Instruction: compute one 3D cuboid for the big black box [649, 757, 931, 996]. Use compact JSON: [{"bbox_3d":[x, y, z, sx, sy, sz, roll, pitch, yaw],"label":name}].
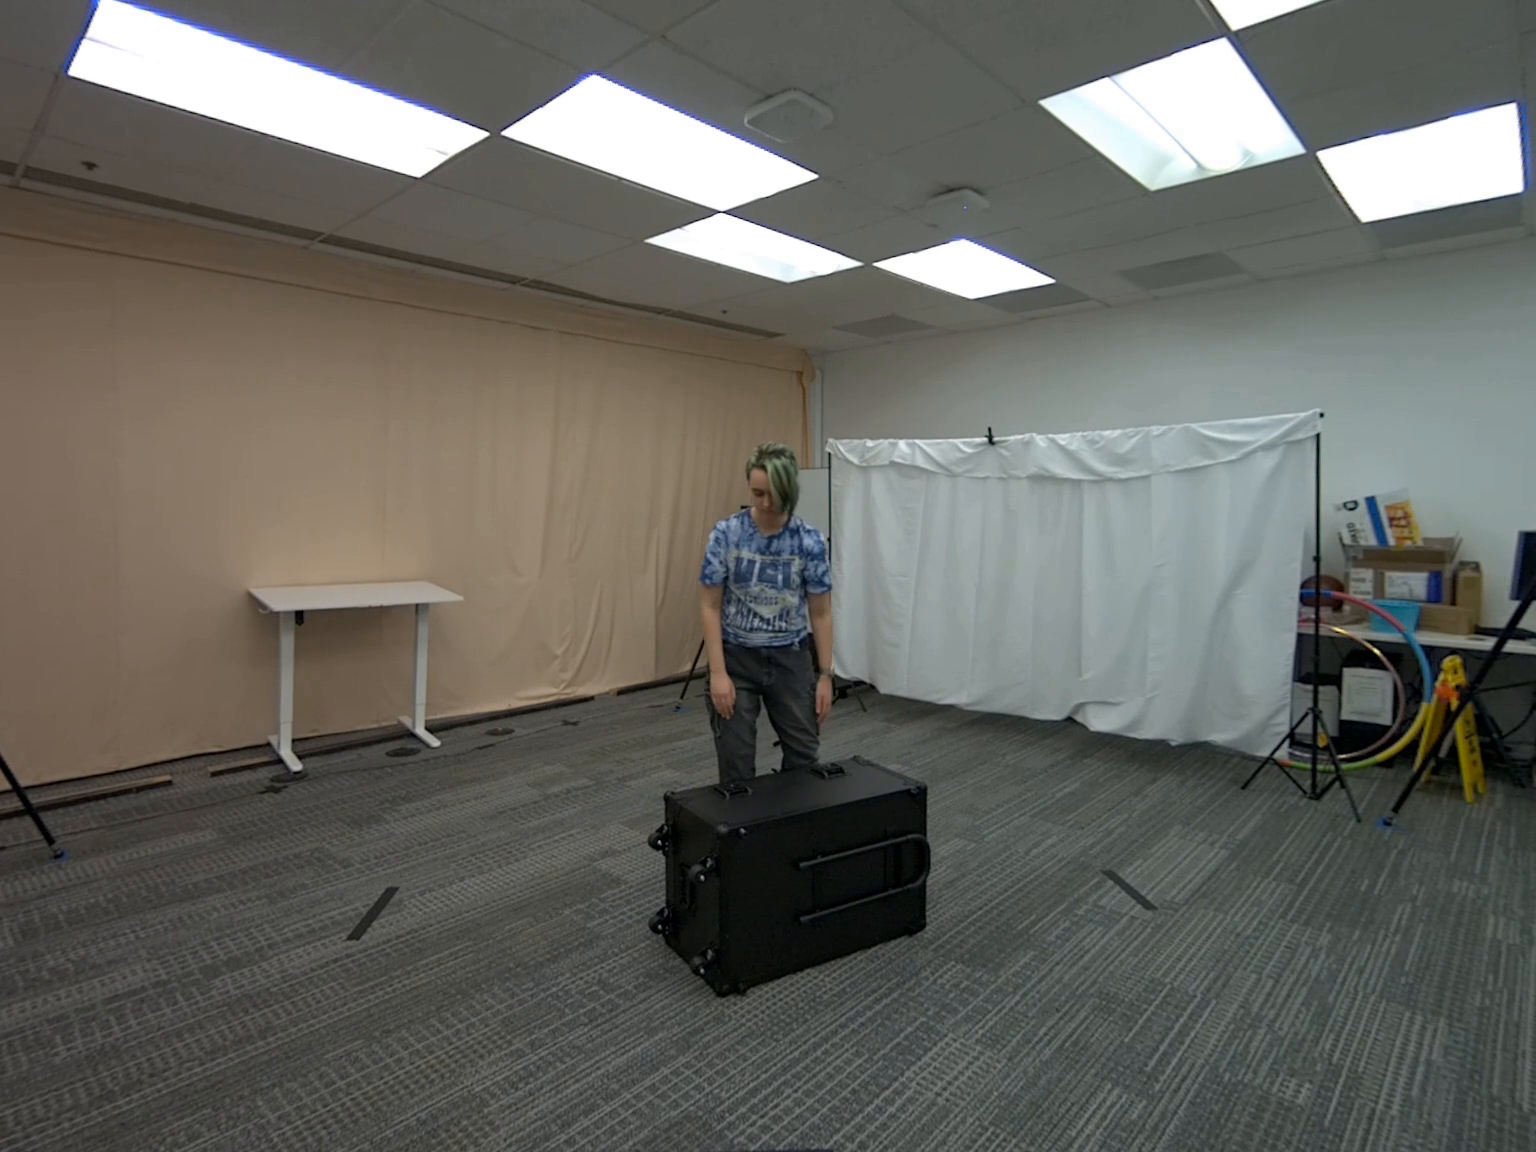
[{"bbox_3d":[0.080,0.924,2.680,0.839,0.520,0.408,-3,5,-30],"label":"big black box"}]
